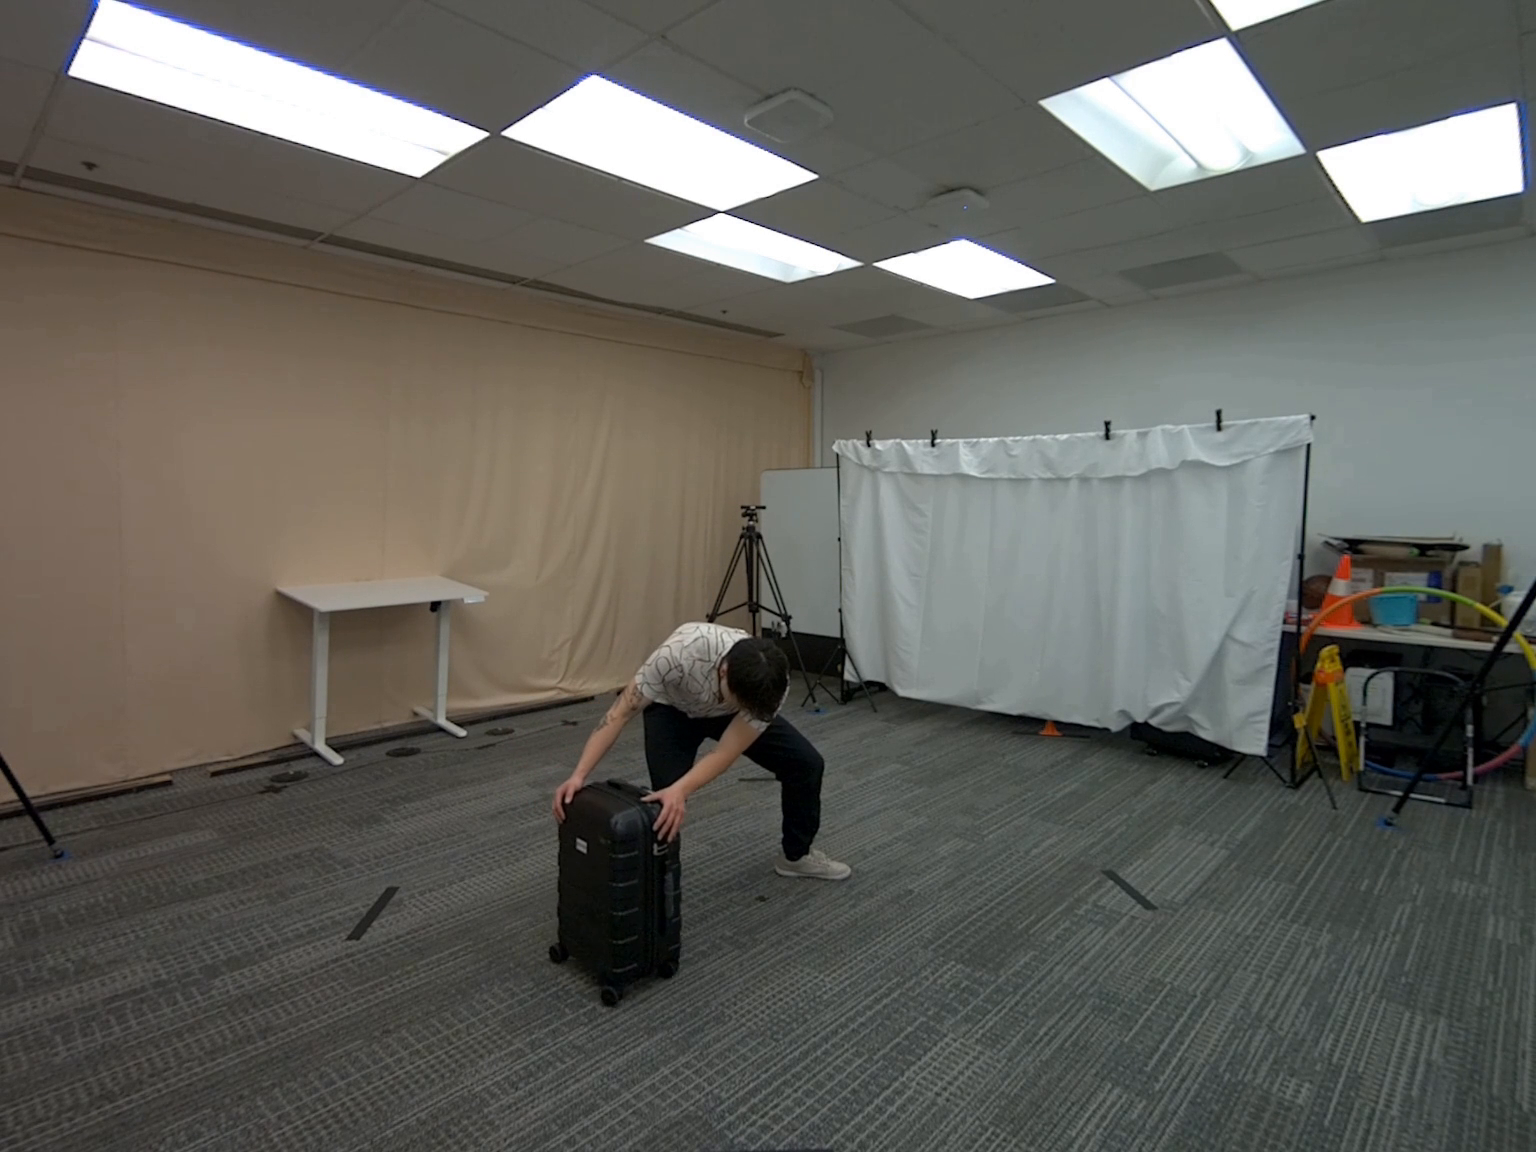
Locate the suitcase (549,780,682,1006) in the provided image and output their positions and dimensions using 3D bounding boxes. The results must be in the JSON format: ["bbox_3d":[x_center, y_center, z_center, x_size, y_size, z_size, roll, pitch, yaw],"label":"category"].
[{"bbox_3d":[-0.445,0.912,2.515,0.240,0.548,0.388,-2,5,-43],"label":"suitcase"}]
